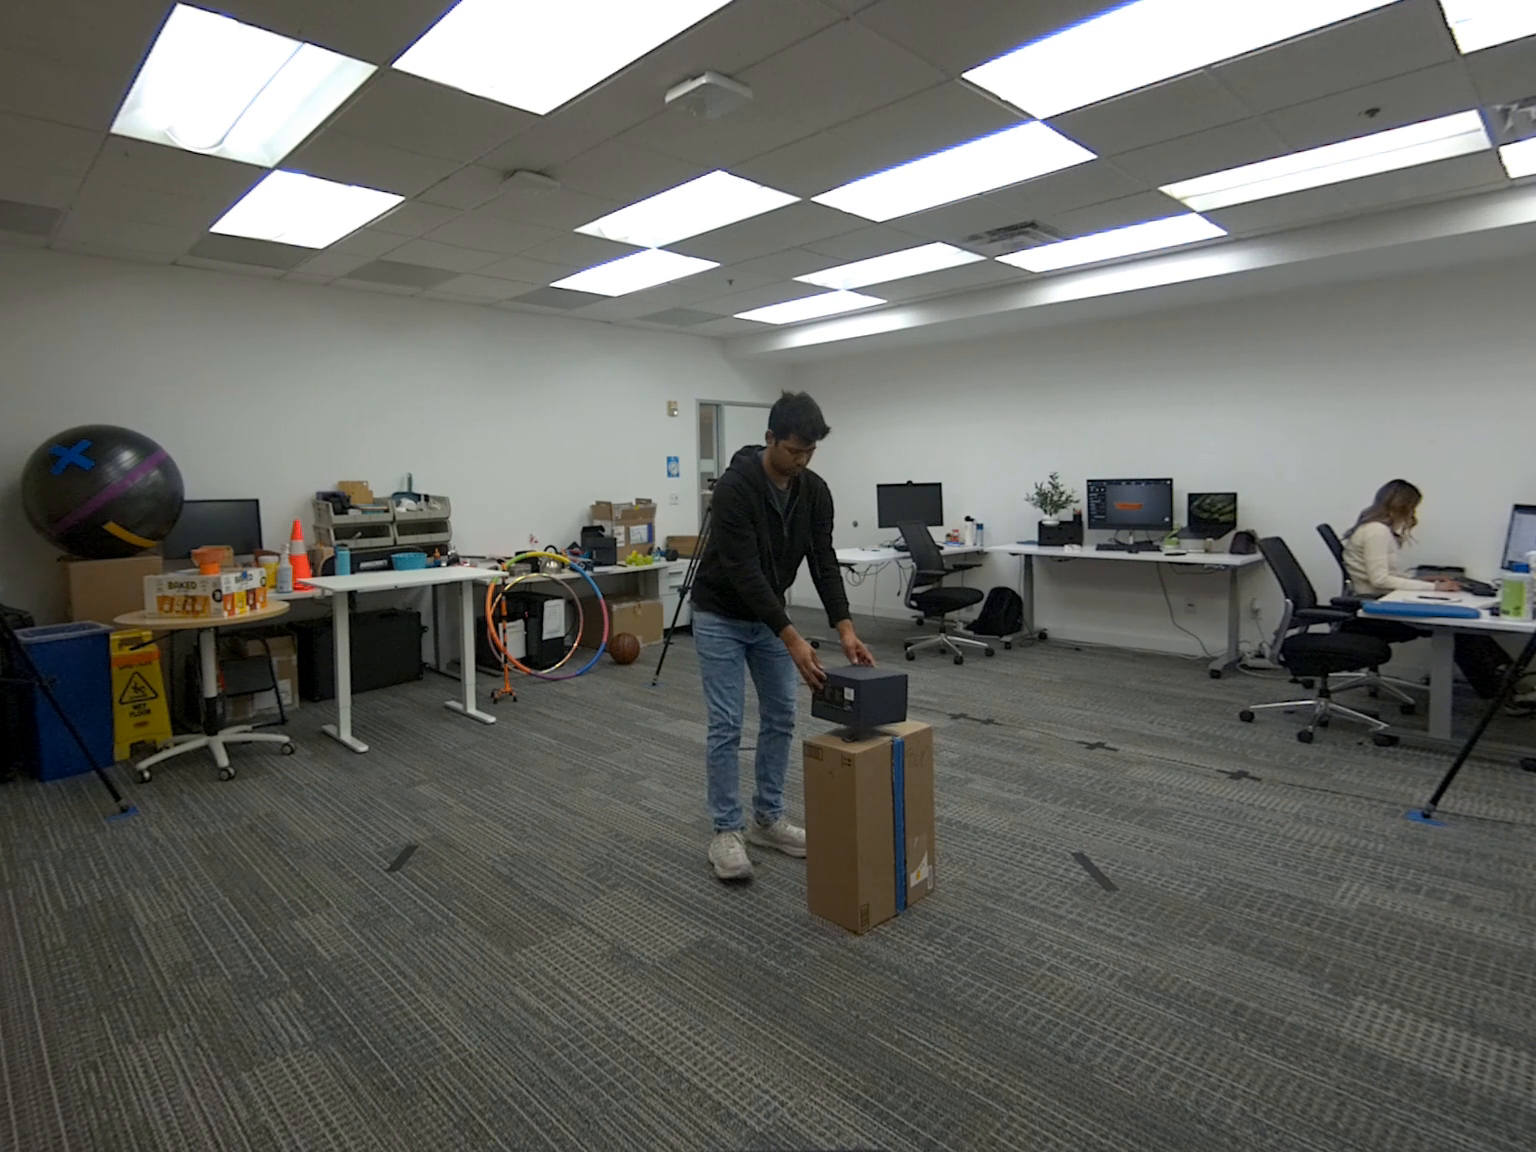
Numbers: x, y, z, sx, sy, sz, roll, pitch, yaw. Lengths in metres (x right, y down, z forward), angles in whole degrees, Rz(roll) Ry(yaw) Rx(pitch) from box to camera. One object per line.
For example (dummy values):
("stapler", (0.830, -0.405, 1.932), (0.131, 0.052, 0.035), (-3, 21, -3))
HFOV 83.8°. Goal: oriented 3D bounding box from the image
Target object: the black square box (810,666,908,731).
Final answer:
("black square box", (0.291, 0.387, 2.788), (0.221, 0.156, 0.223), (0, 2, -39))
